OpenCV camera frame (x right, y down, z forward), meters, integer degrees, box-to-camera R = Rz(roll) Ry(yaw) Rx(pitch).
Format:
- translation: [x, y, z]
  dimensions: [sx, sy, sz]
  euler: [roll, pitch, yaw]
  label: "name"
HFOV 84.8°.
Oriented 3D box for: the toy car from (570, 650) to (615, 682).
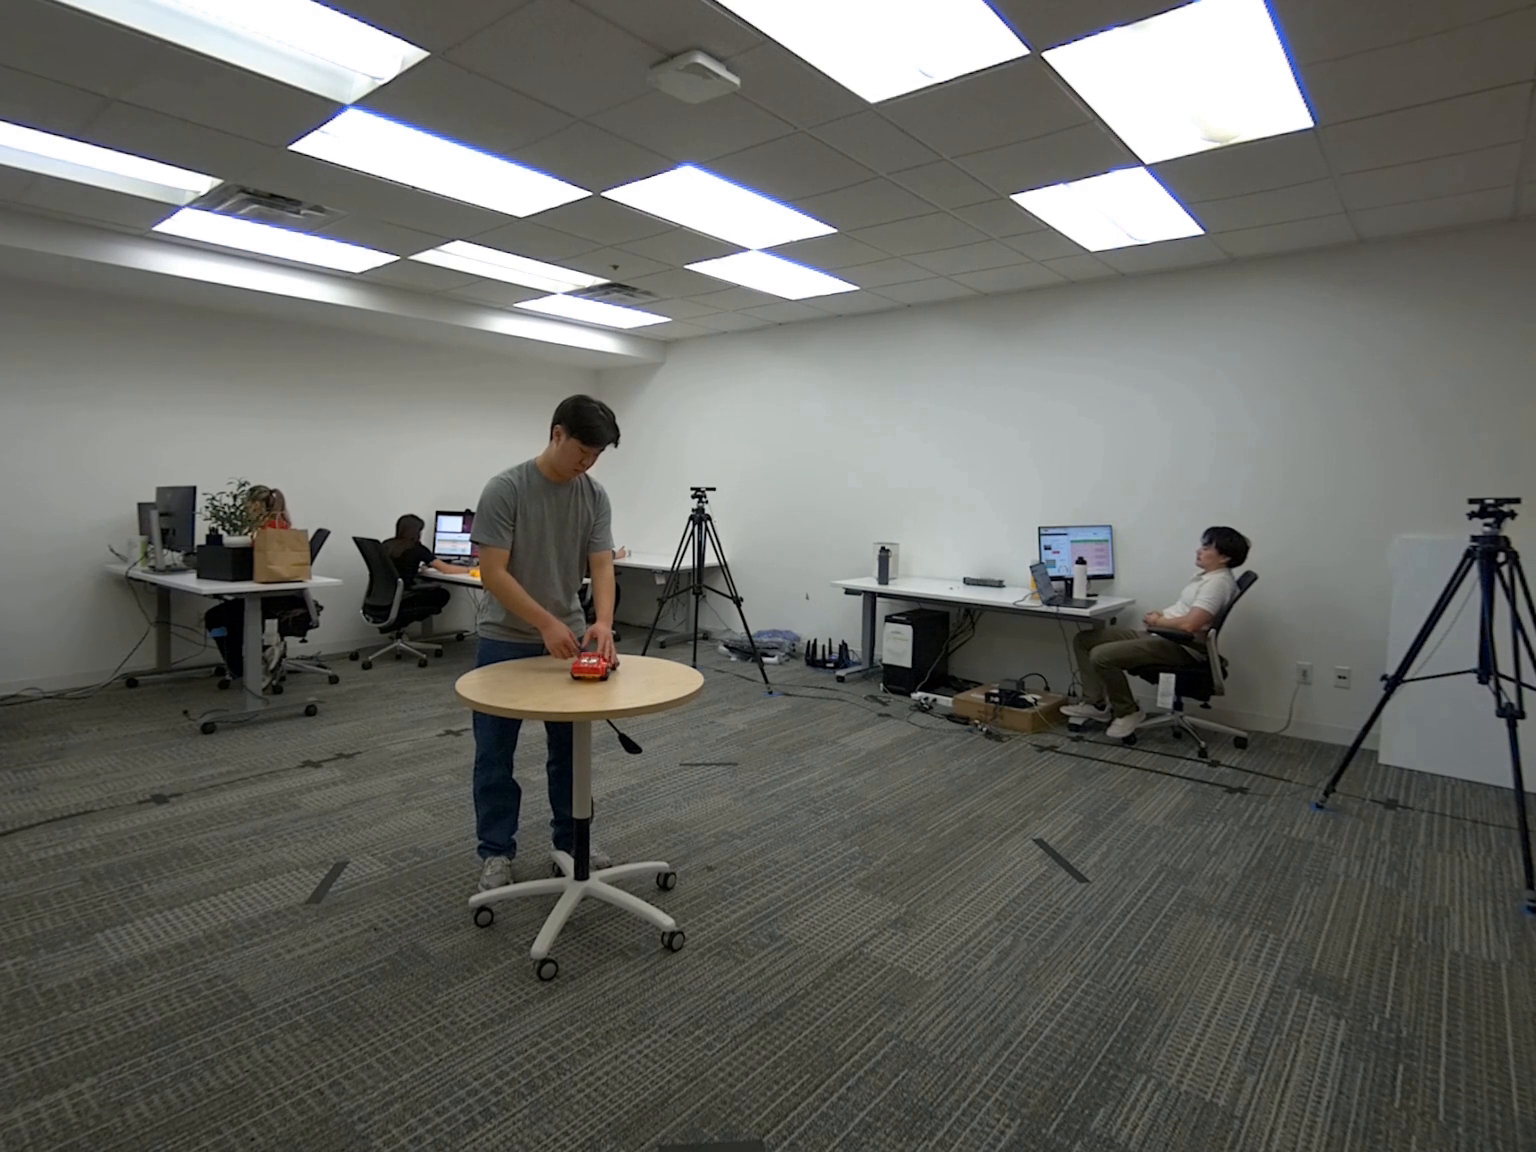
- translation: [-0.571, 0.287, 2.697]
  dimensions: [0.130, 0.084, 0.253]
  euler: [1, -7, -2]
  label: "toy car"
